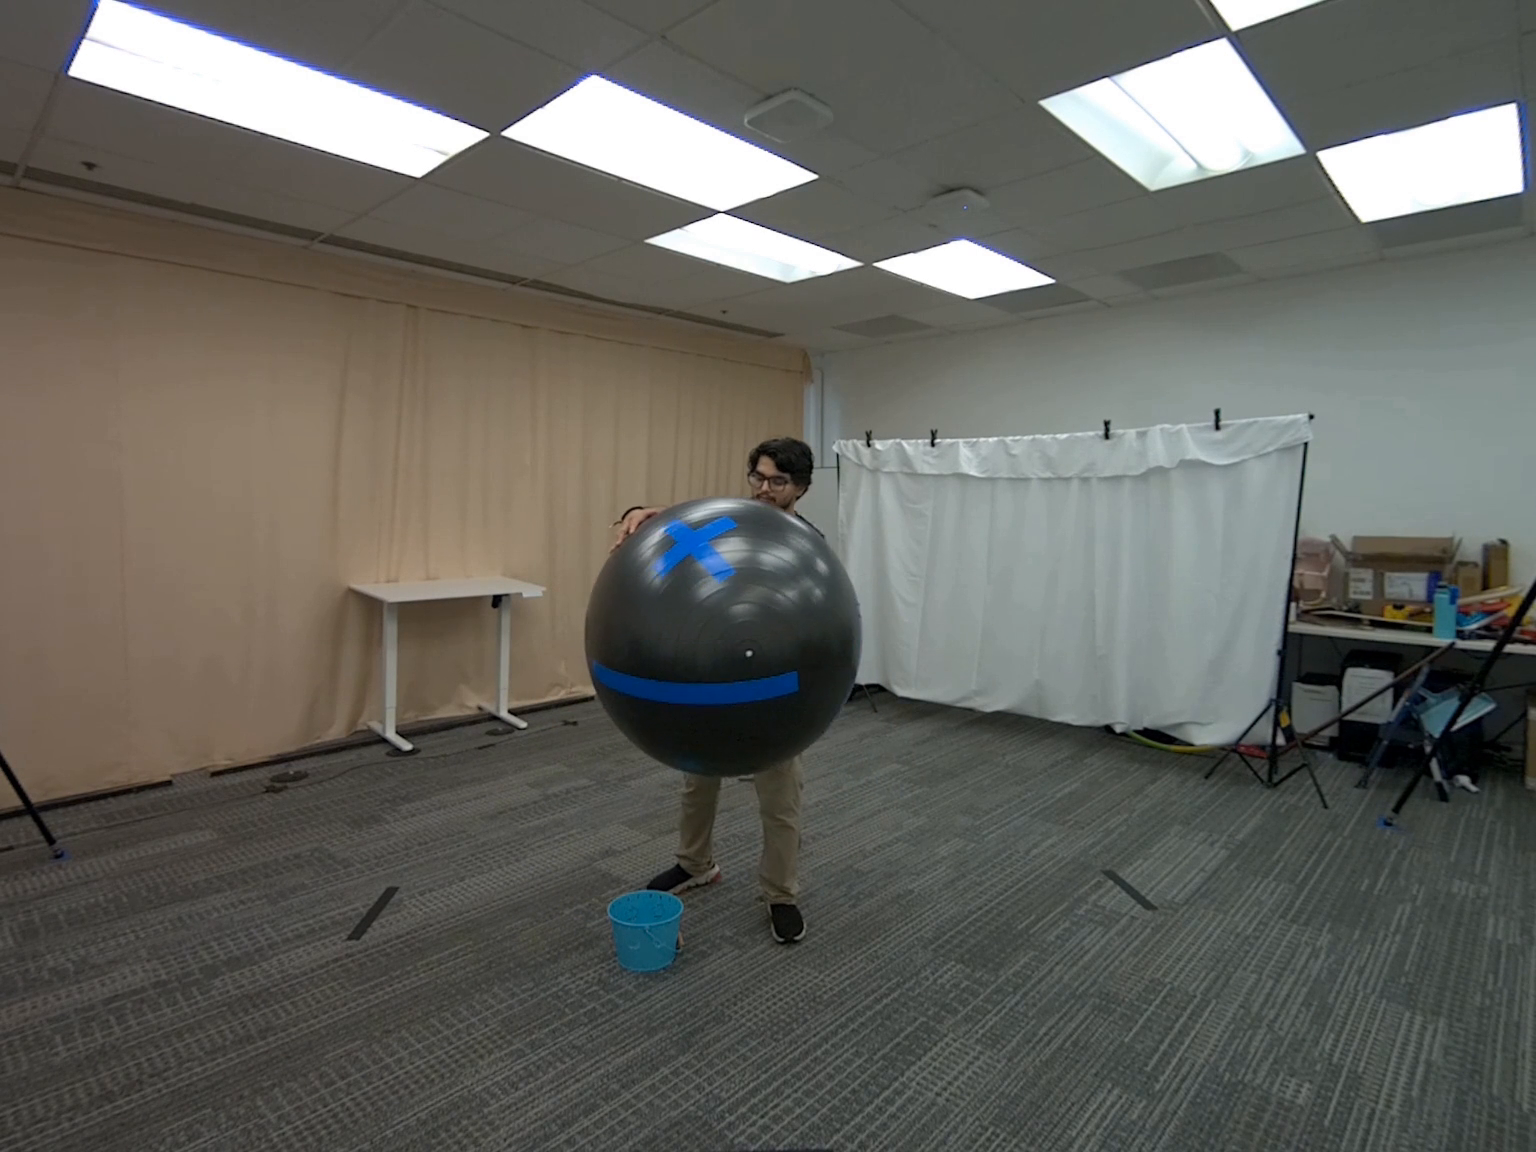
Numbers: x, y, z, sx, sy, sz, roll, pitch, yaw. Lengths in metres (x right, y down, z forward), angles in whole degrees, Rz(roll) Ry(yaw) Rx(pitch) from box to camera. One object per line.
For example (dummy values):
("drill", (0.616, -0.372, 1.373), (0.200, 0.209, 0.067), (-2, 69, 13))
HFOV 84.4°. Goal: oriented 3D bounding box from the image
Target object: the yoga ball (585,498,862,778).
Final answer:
("yoga ball", (-0.123, 0.166, 2.313), (0.757, 0.756, 0.760), (0, 4, -2))
